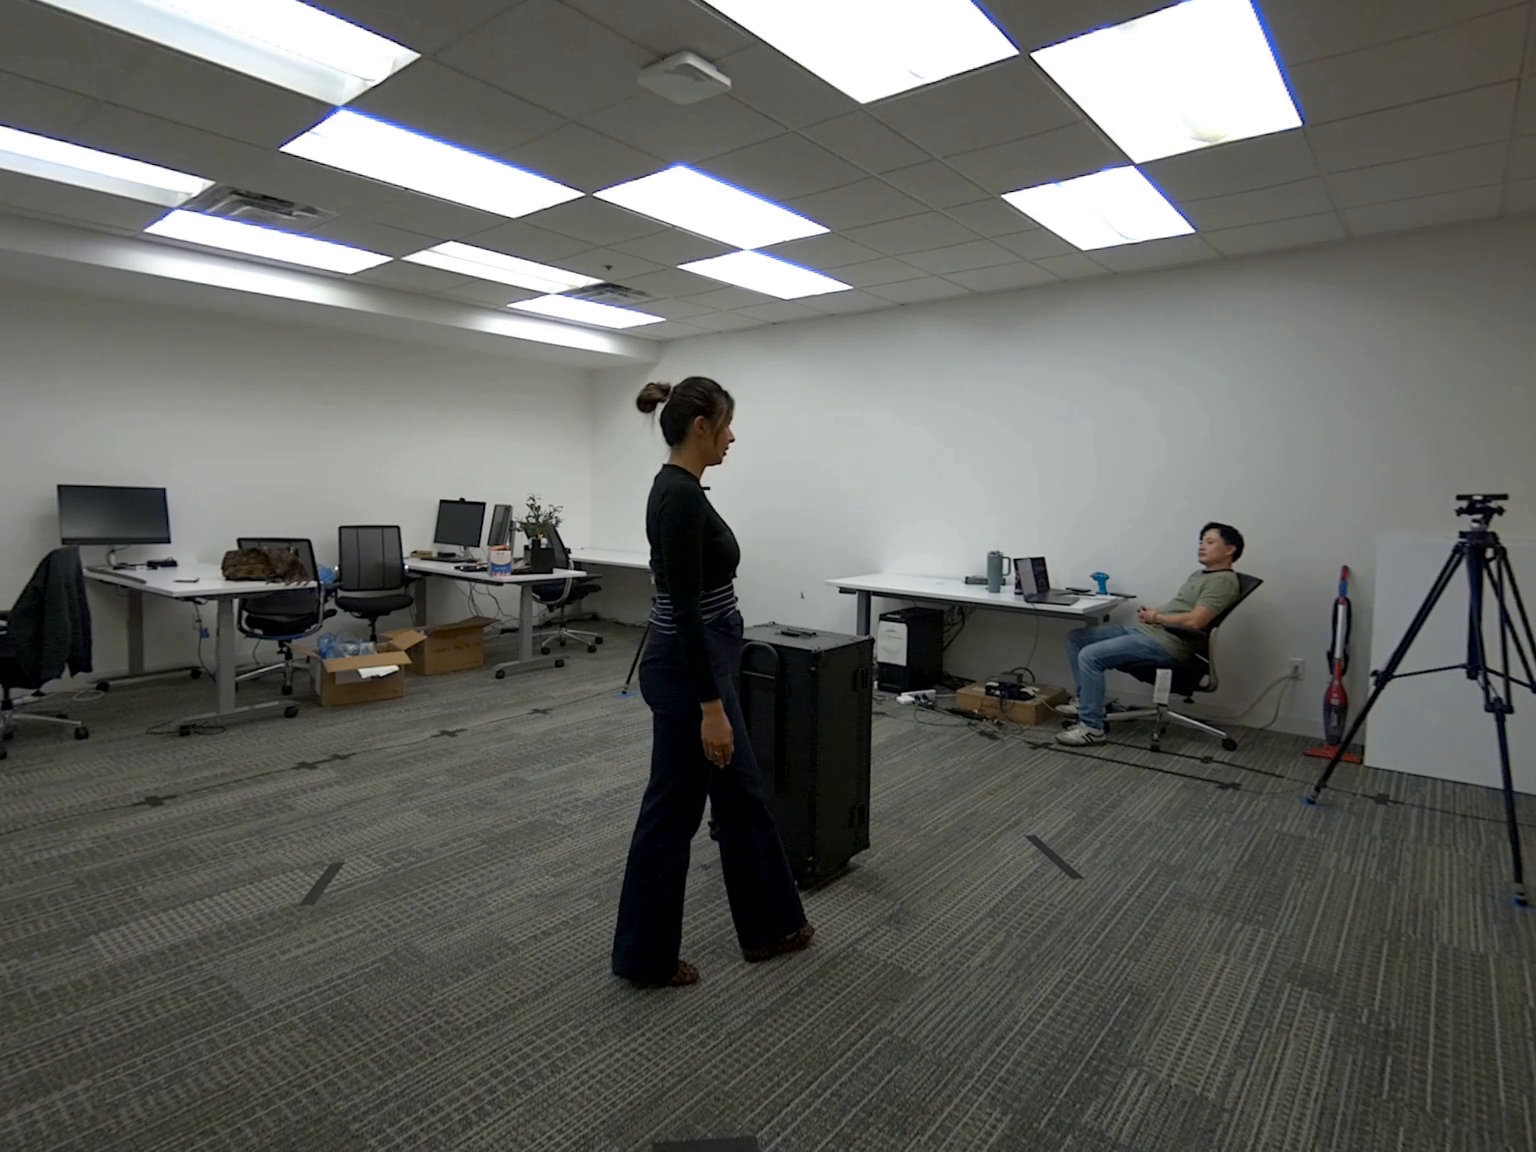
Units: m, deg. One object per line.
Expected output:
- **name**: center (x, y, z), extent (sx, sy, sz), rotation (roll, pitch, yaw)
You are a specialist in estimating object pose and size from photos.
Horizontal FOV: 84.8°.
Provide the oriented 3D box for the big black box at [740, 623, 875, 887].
- **big black box**: center (0.070, 0.586, 3.145), extent (0.539, 0.859, 0.384), rotation (4, 4, 40)
